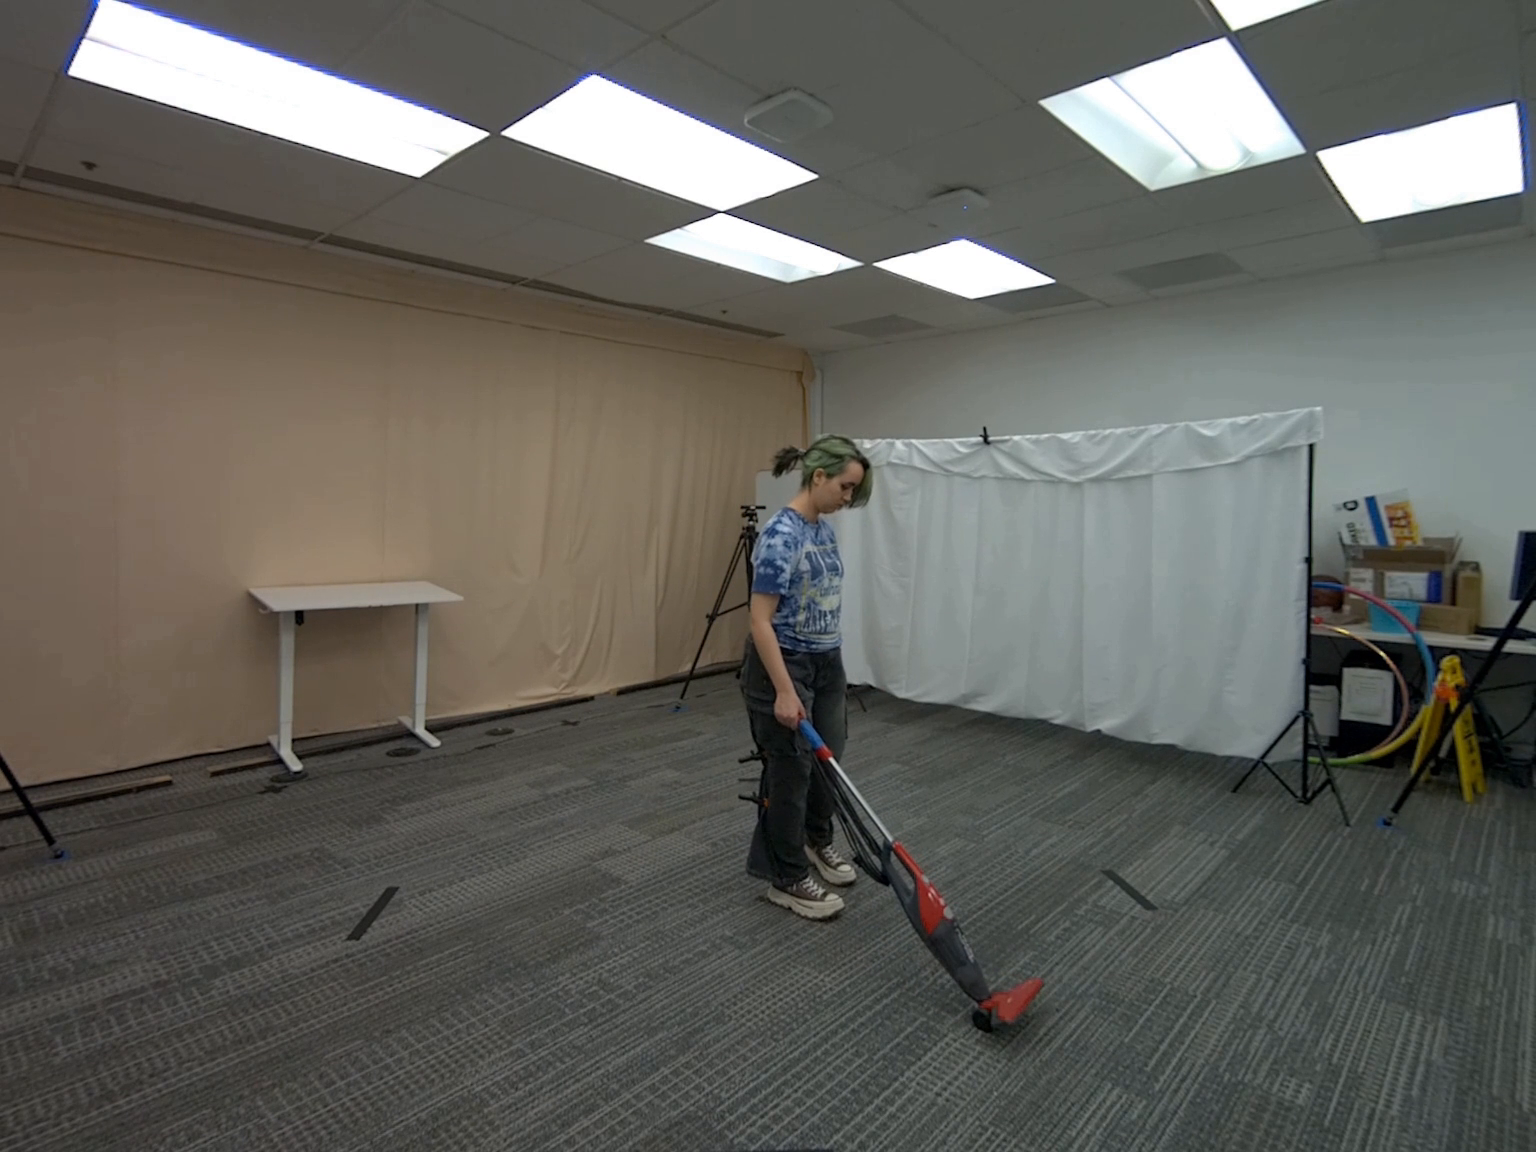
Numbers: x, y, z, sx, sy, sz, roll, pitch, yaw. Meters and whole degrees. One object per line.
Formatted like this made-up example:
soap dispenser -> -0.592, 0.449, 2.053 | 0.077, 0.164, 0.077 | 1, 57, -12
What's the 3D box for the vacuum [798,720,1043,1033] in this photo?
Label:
vacuum -> 0.349, 0.802, 2.475 | 0.245, 0.144, 1.079 | -2, 46, -51
